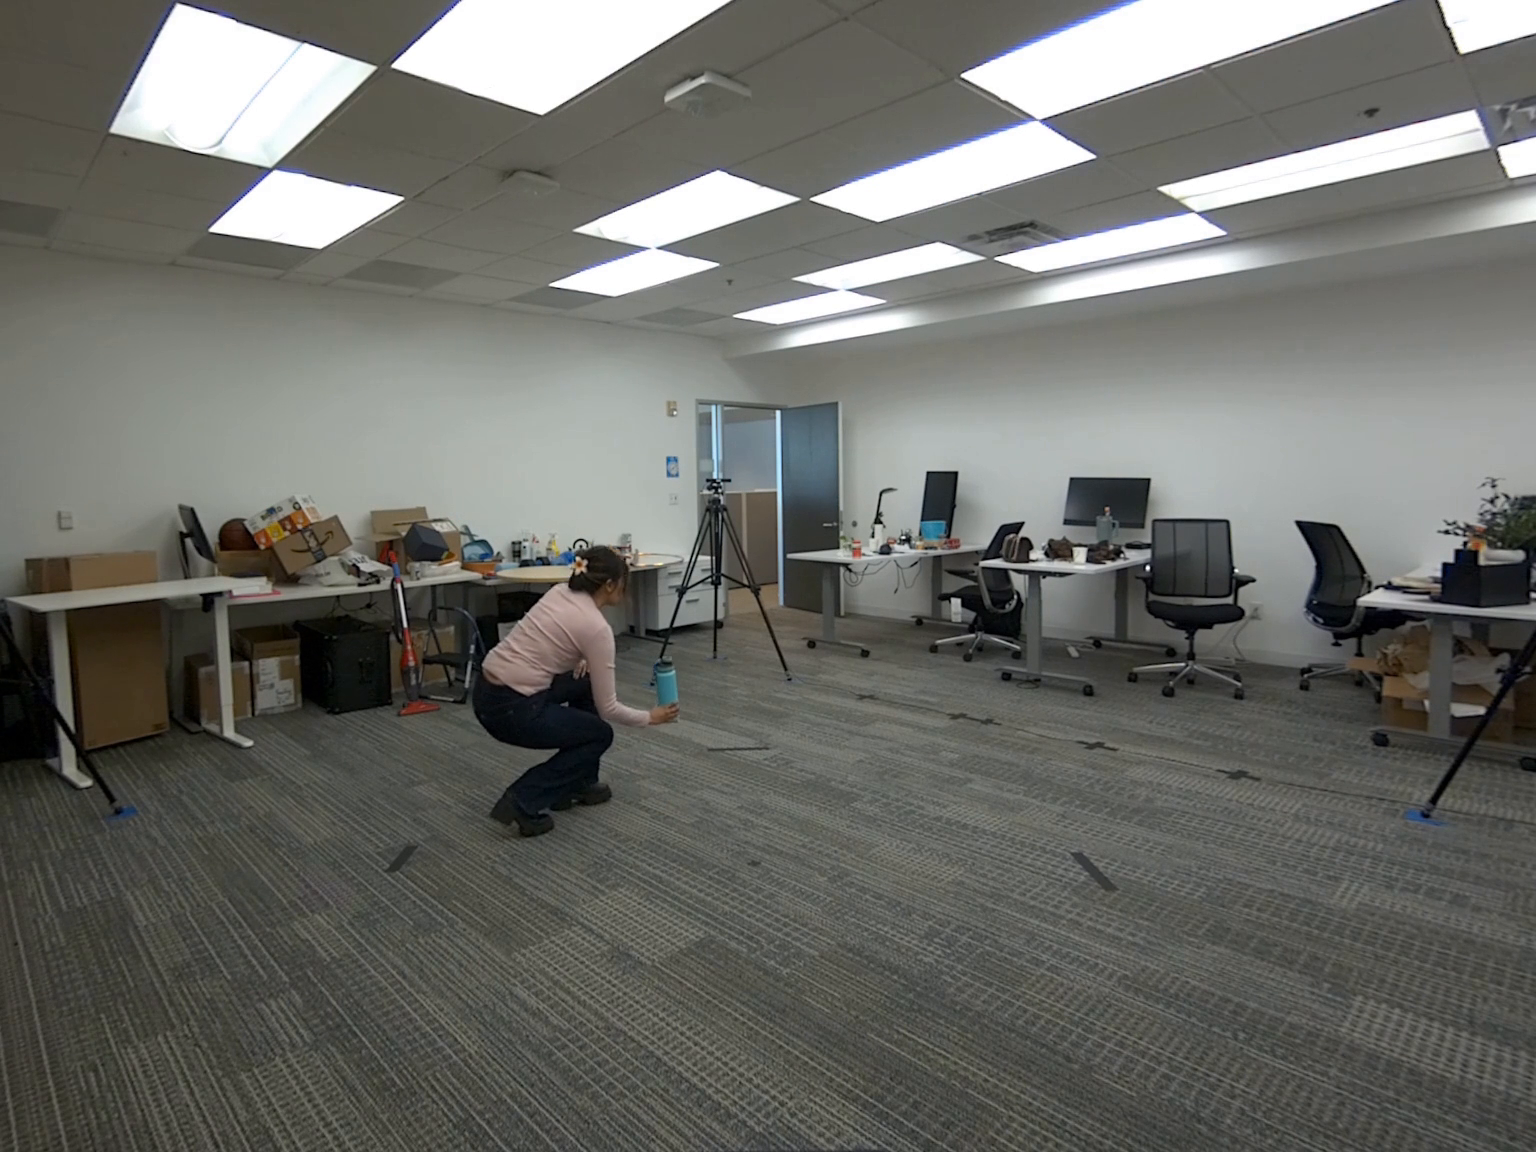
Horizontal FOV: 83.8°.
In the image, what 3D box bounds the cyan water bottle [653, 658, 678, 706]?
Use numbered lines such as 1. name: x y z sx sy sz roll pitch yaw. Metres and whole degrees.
1. cyan water bottle: -0.454 0.489 3.731 0.092 0.280 0.093 -5 11 -1
